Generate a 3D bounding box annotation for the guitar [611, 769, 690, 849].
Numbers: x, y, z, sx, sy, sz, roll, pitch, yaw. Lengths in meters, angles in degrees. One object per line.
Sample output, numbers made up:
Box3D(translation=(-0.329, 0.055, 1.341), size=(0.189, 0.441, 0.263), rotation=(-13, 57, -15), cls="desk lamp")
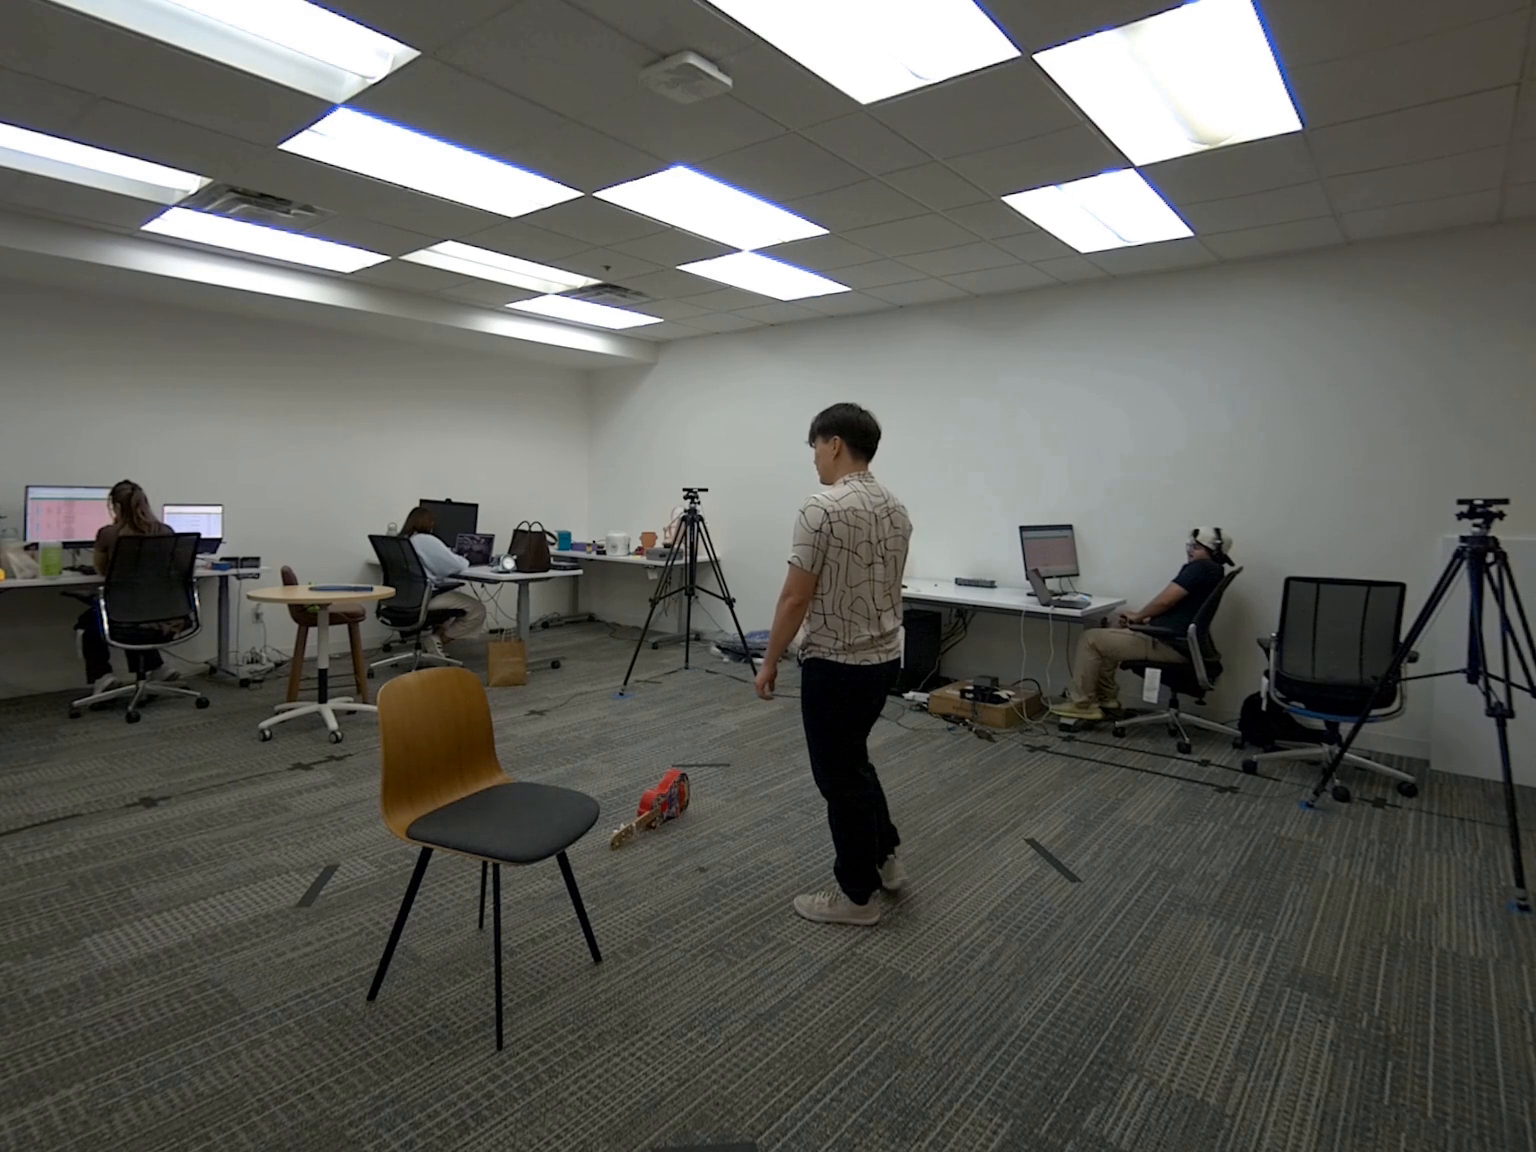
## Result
Box3D(translation=(-0.496, 0.939, 3.464), size=(0.073, 0.192, 0.485), rotation=(8, 9, 32), cls="guitar")
